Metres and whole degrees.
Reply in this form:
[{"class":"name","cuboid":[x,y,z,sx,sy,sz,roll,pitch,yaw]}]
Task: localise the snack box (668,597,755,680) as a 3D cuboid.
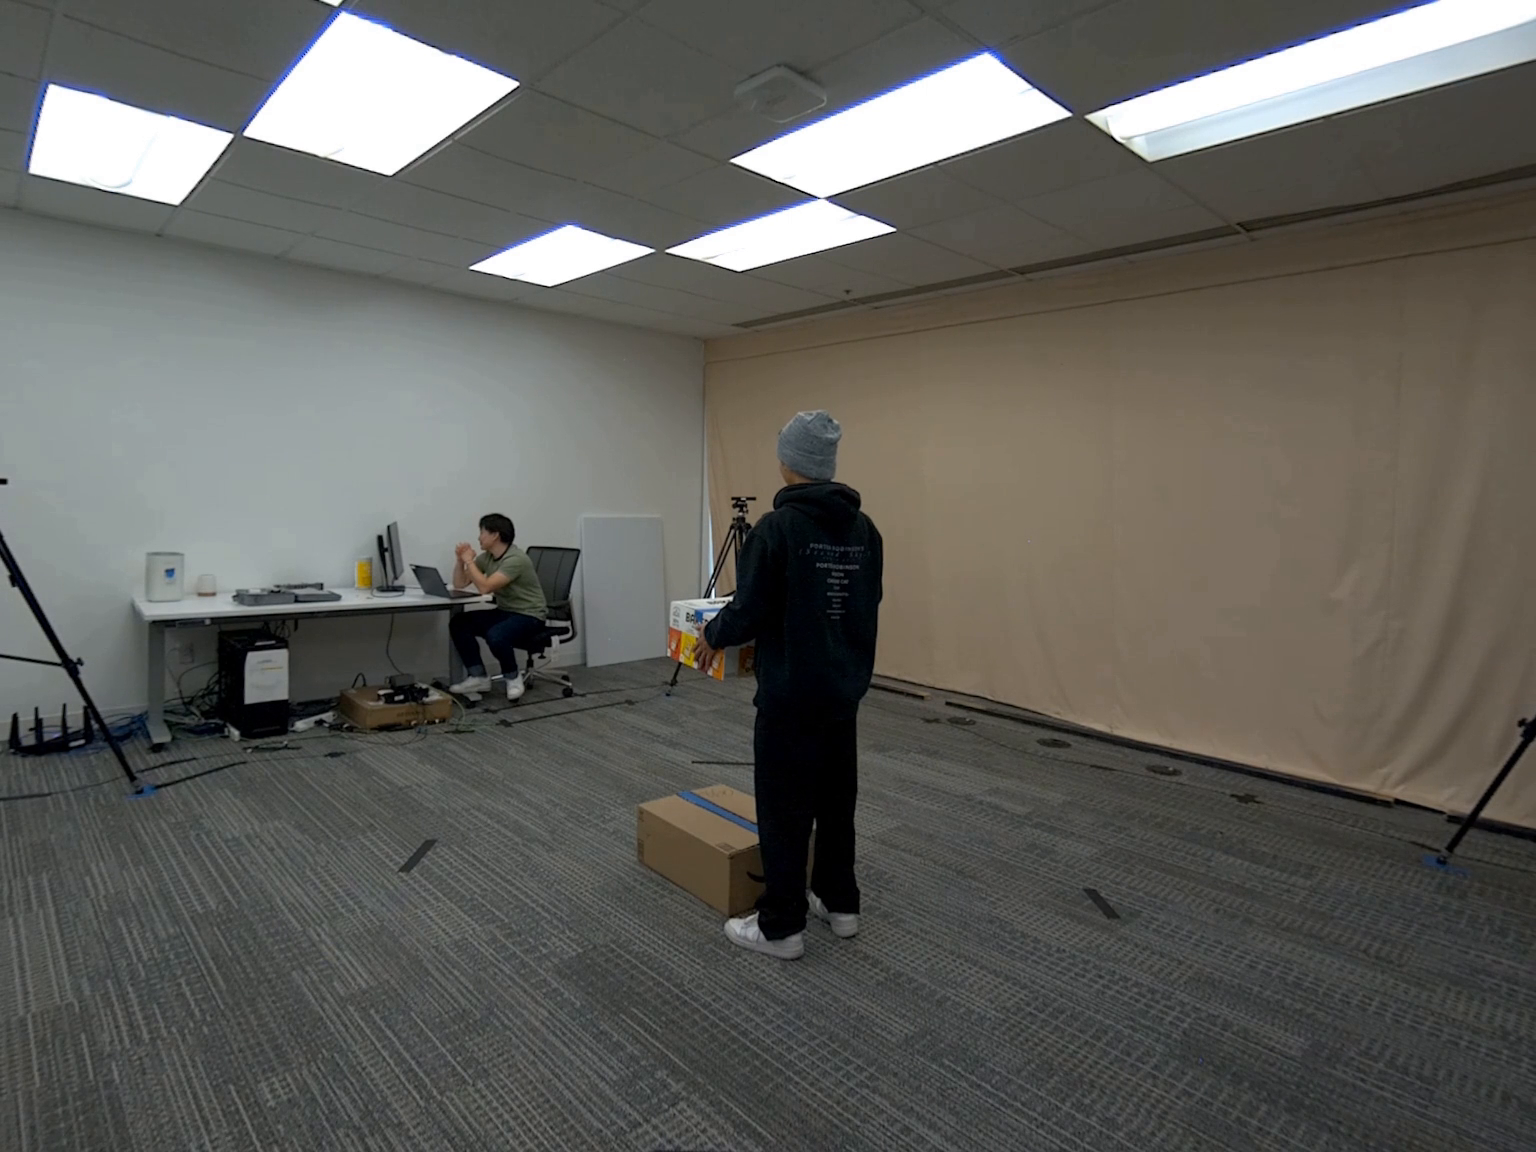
[{"class":"snack box","cuboid":[-0.104,0.213,3.028,0.396,0.204,0.350,-3,12,-39]}]
